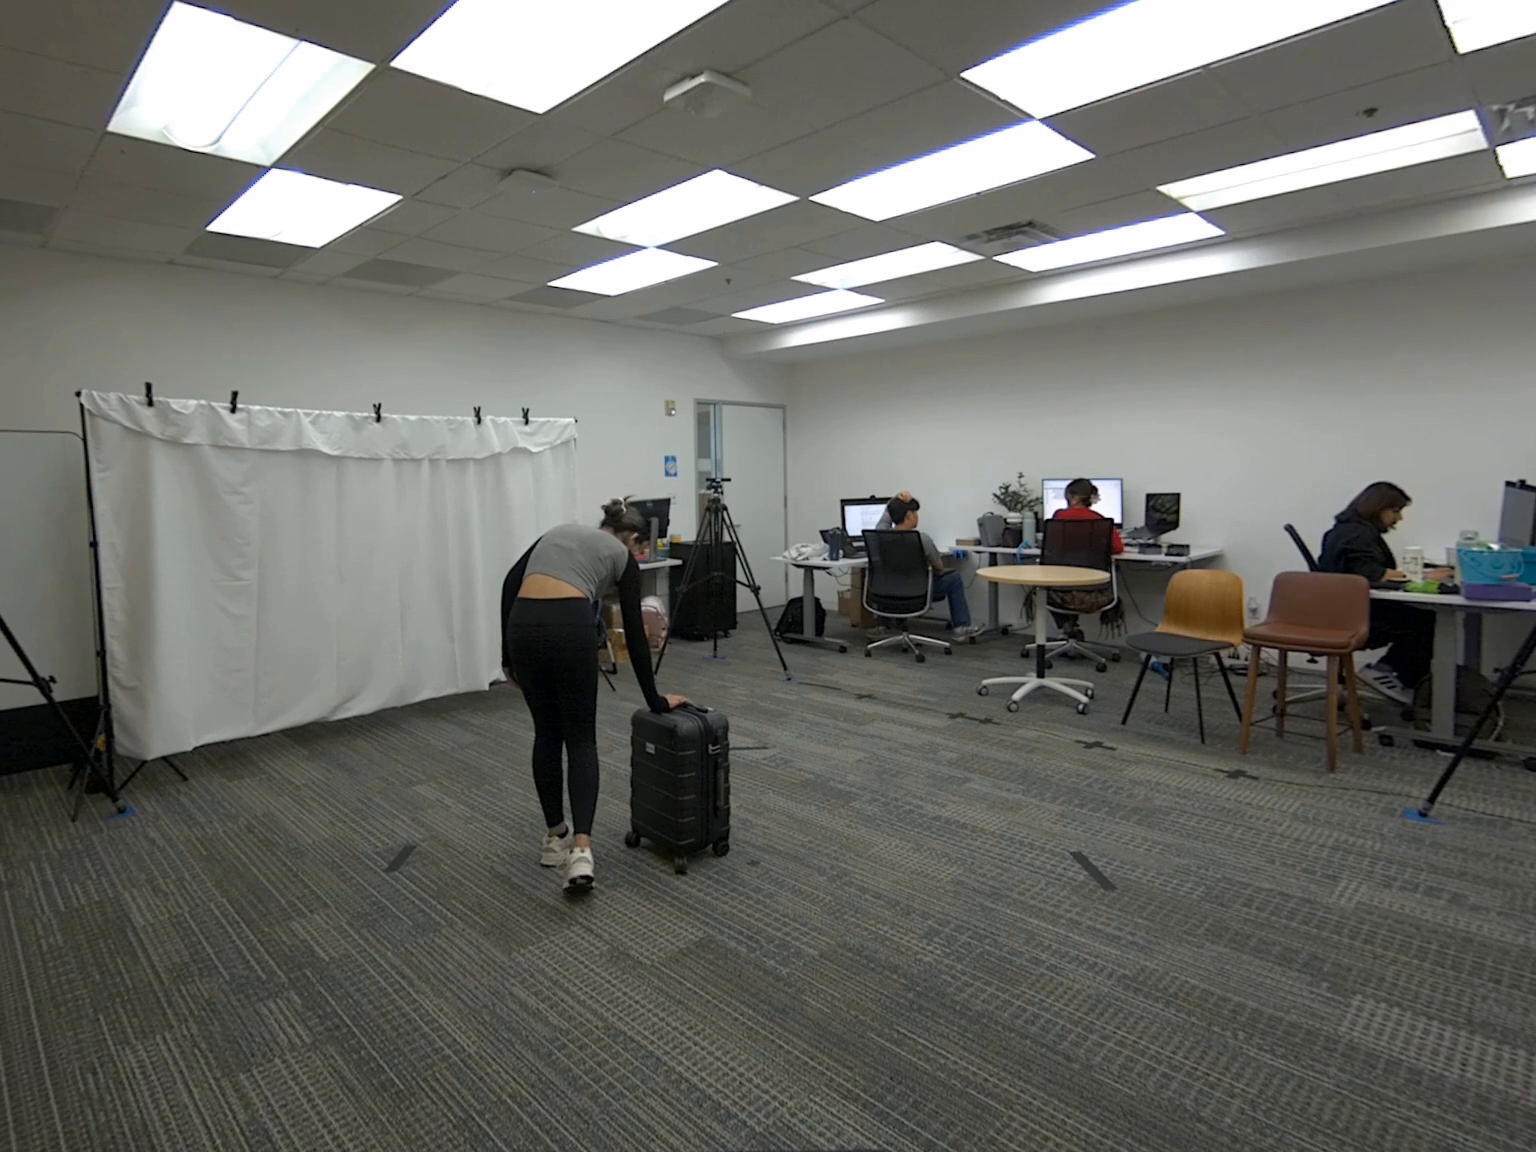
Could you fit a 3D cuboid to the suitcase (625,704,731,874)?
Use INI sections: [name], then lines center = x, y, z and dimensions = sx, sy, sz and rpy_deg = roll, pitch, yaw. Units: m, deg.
[suitcase]
center = -0.333, 0.760, 3.217
dimensions = 0.241, 0.548, 0.387
rpy_deg = -2, 4, -43
